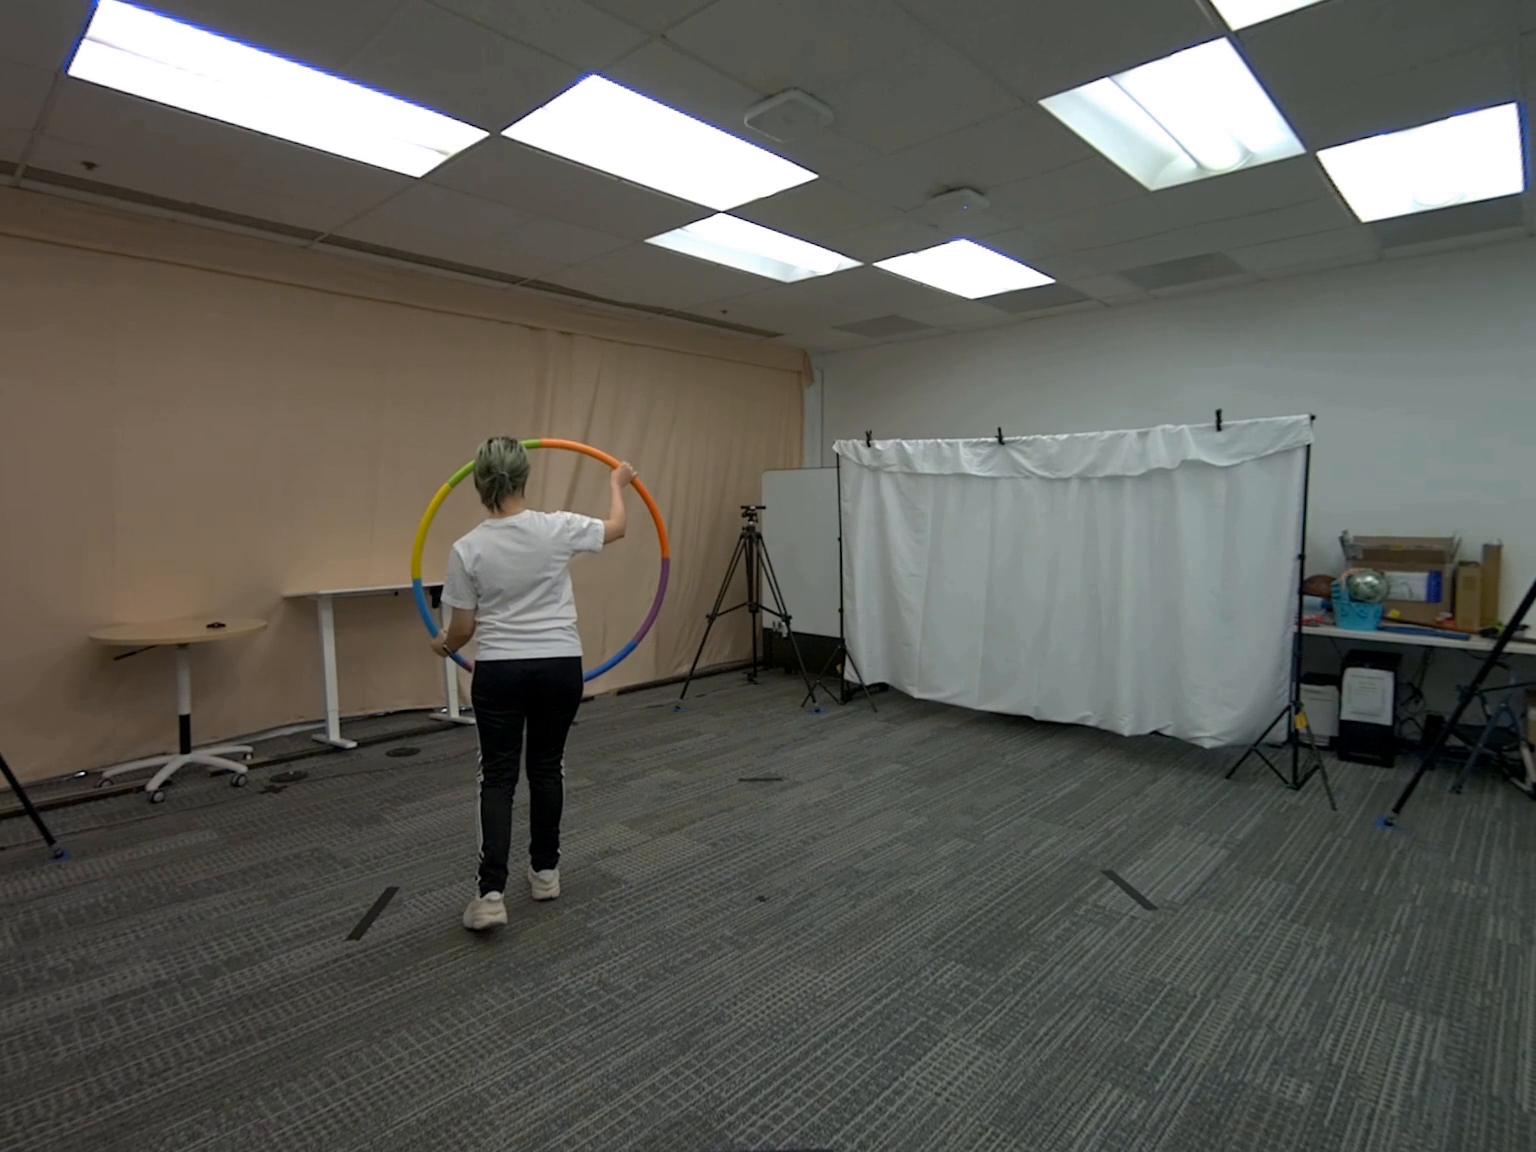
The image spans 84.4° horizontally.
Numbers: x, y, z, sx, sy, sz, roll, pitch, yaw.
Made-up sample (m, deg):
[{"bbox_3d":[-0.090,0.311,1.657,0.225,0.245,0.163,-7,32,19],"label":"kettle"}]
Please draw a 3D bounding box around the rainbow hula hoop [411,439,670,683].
[{"bbox_3d":[-0.850,-0.033,3.258,0.958,0.974,0.036,-1,7,-21],"label":"rainbow hula hoop"}]
